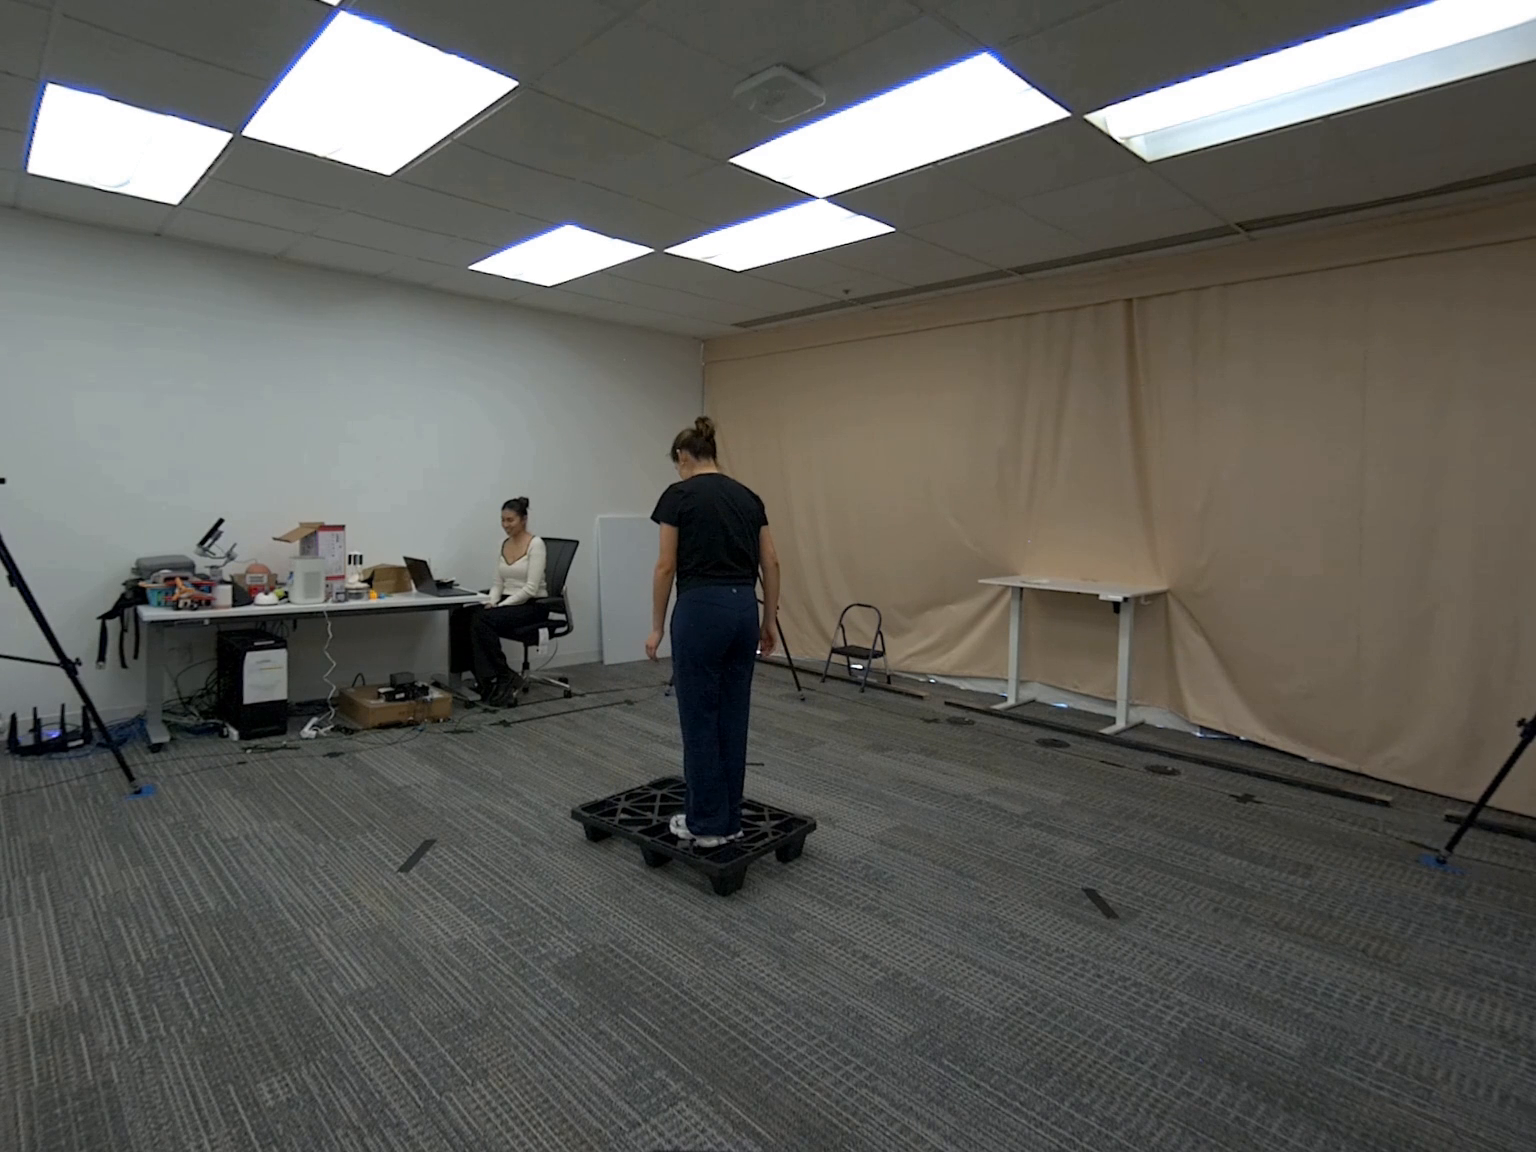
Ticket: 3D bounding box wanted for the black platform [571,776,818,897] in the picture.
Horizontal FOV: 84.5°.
[{"bbox_3d":[-0.304,1.017,3.327,0.826,0.143,0.592,5,7,38],"label":"black platform"}]
